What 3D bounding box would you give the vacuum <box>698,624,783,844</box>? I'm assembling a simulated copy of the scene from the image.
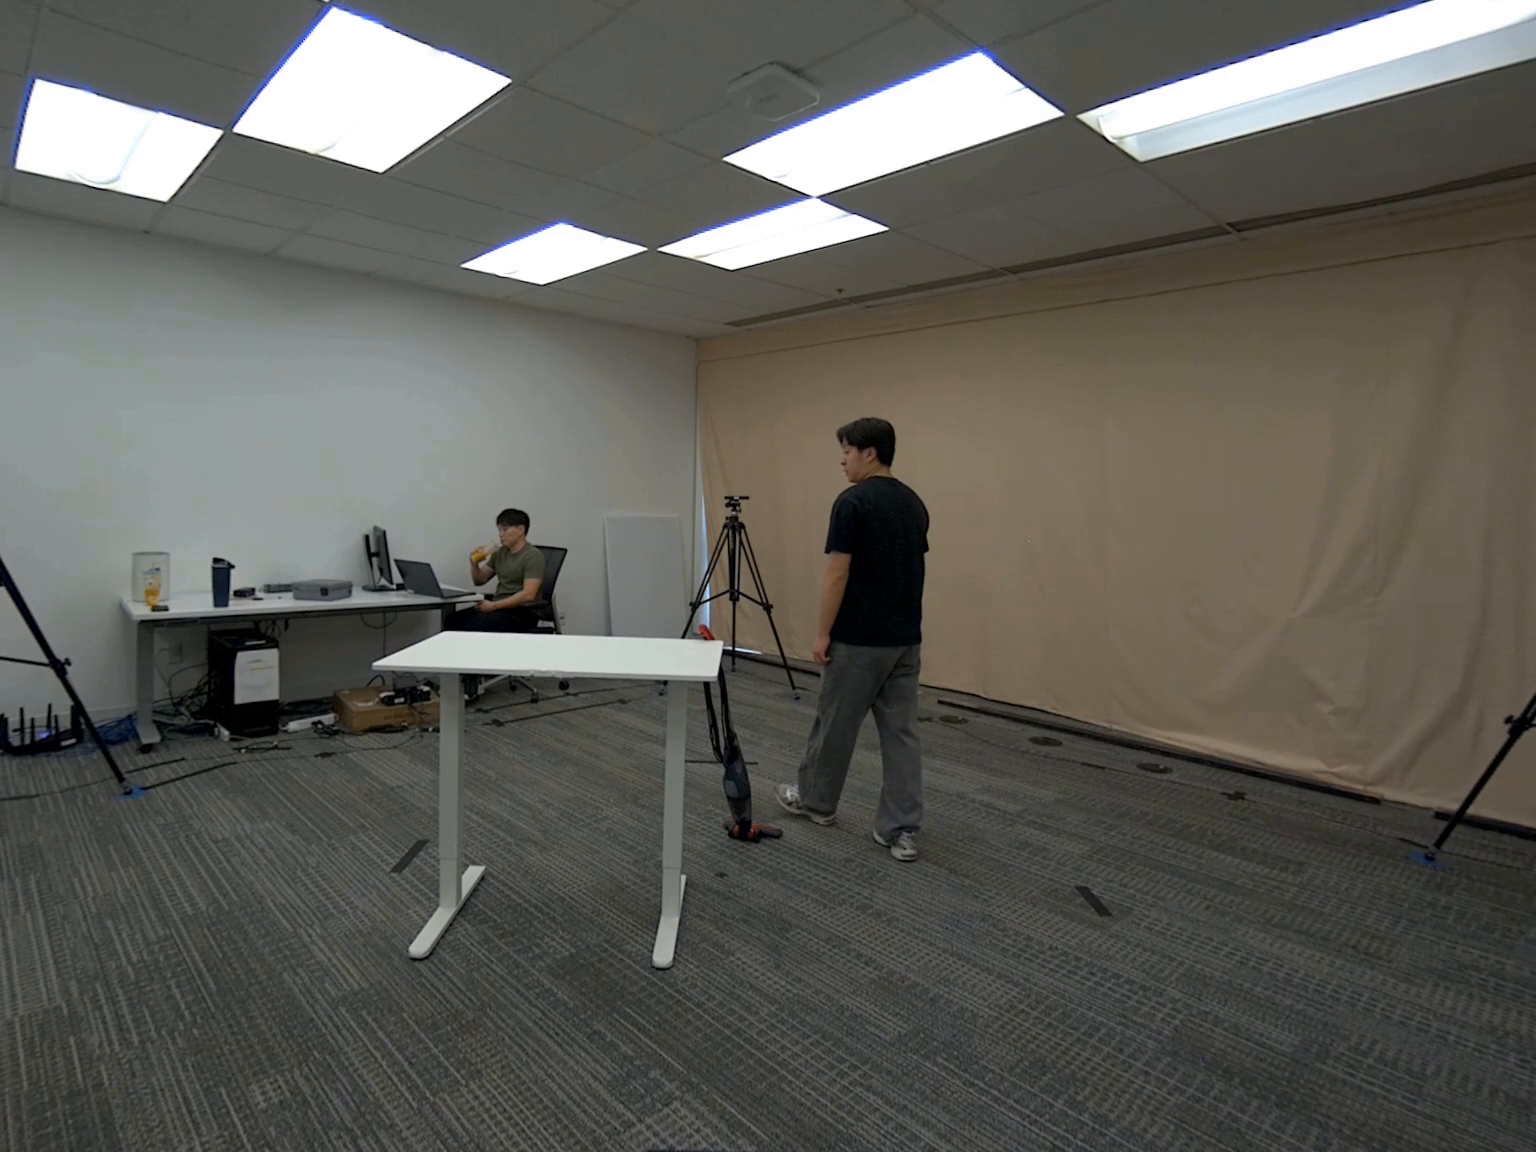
[{"bbox_3d":[-0.157,0.624,3.228,0.258,1.026,0.144,9,34,30],"label":"vacuum"}]
